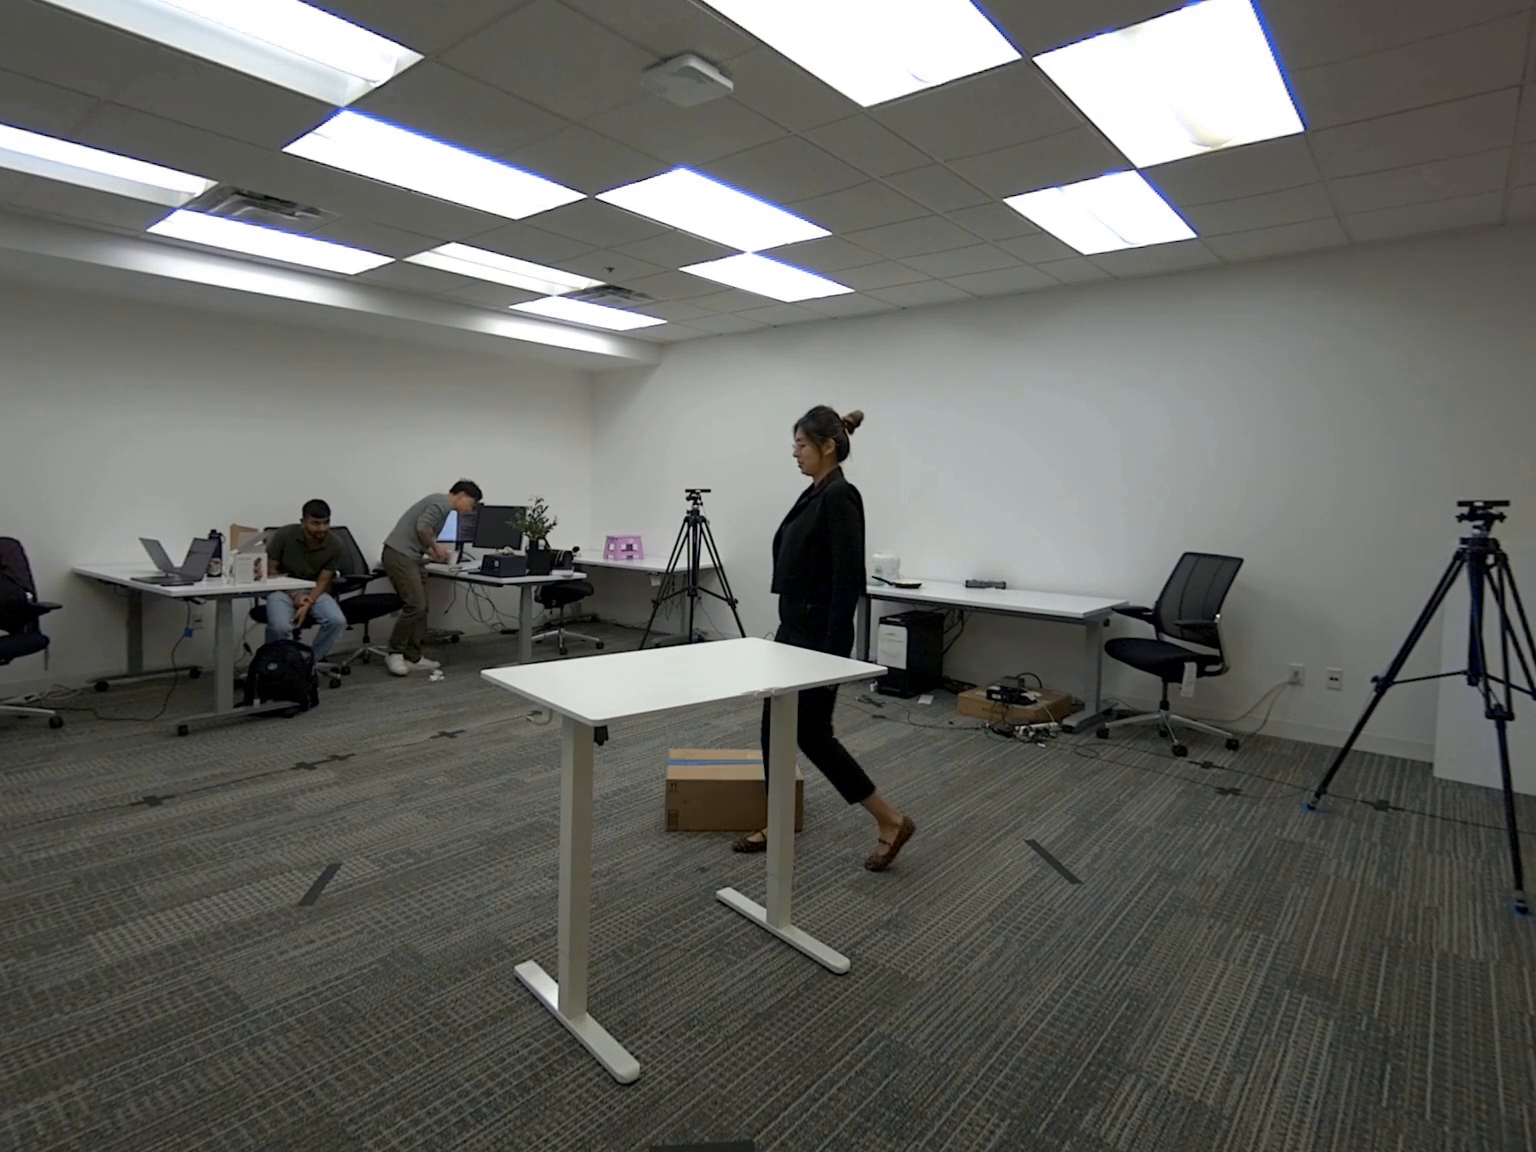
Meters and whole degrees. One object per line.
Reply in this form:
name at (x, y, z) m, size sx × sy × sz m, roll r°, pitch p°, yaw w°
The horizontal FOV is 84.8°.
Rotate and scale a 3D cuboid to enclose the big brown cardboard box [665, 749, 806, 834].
big brown cardboard box at (-0.161, 0.908, 3.670) m, size 0.587 × 0.232 × 0.421 m, roll 0°, pitch 5°, yaw -4°
